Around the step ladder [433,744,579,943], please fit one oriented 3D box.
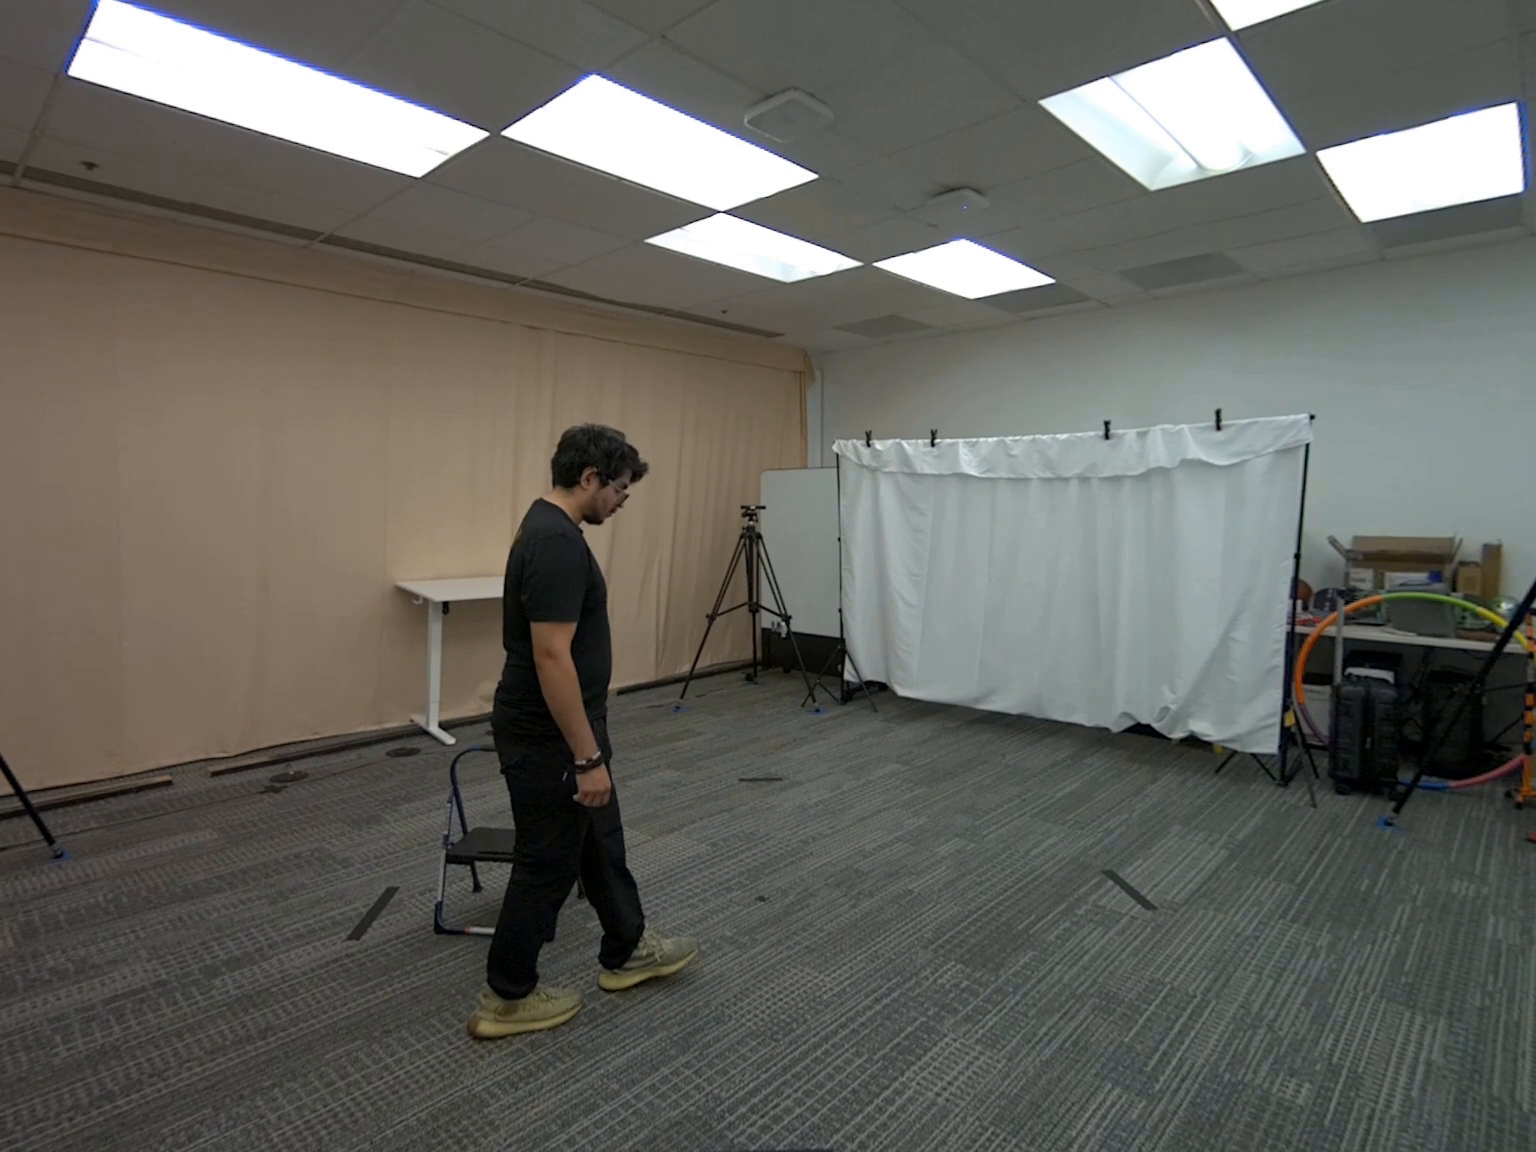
[{"bbox_3d":[-0.884,0.861,2.872,0.434,0.605,0.347,0,3,7],"label":"step ladder"}]
